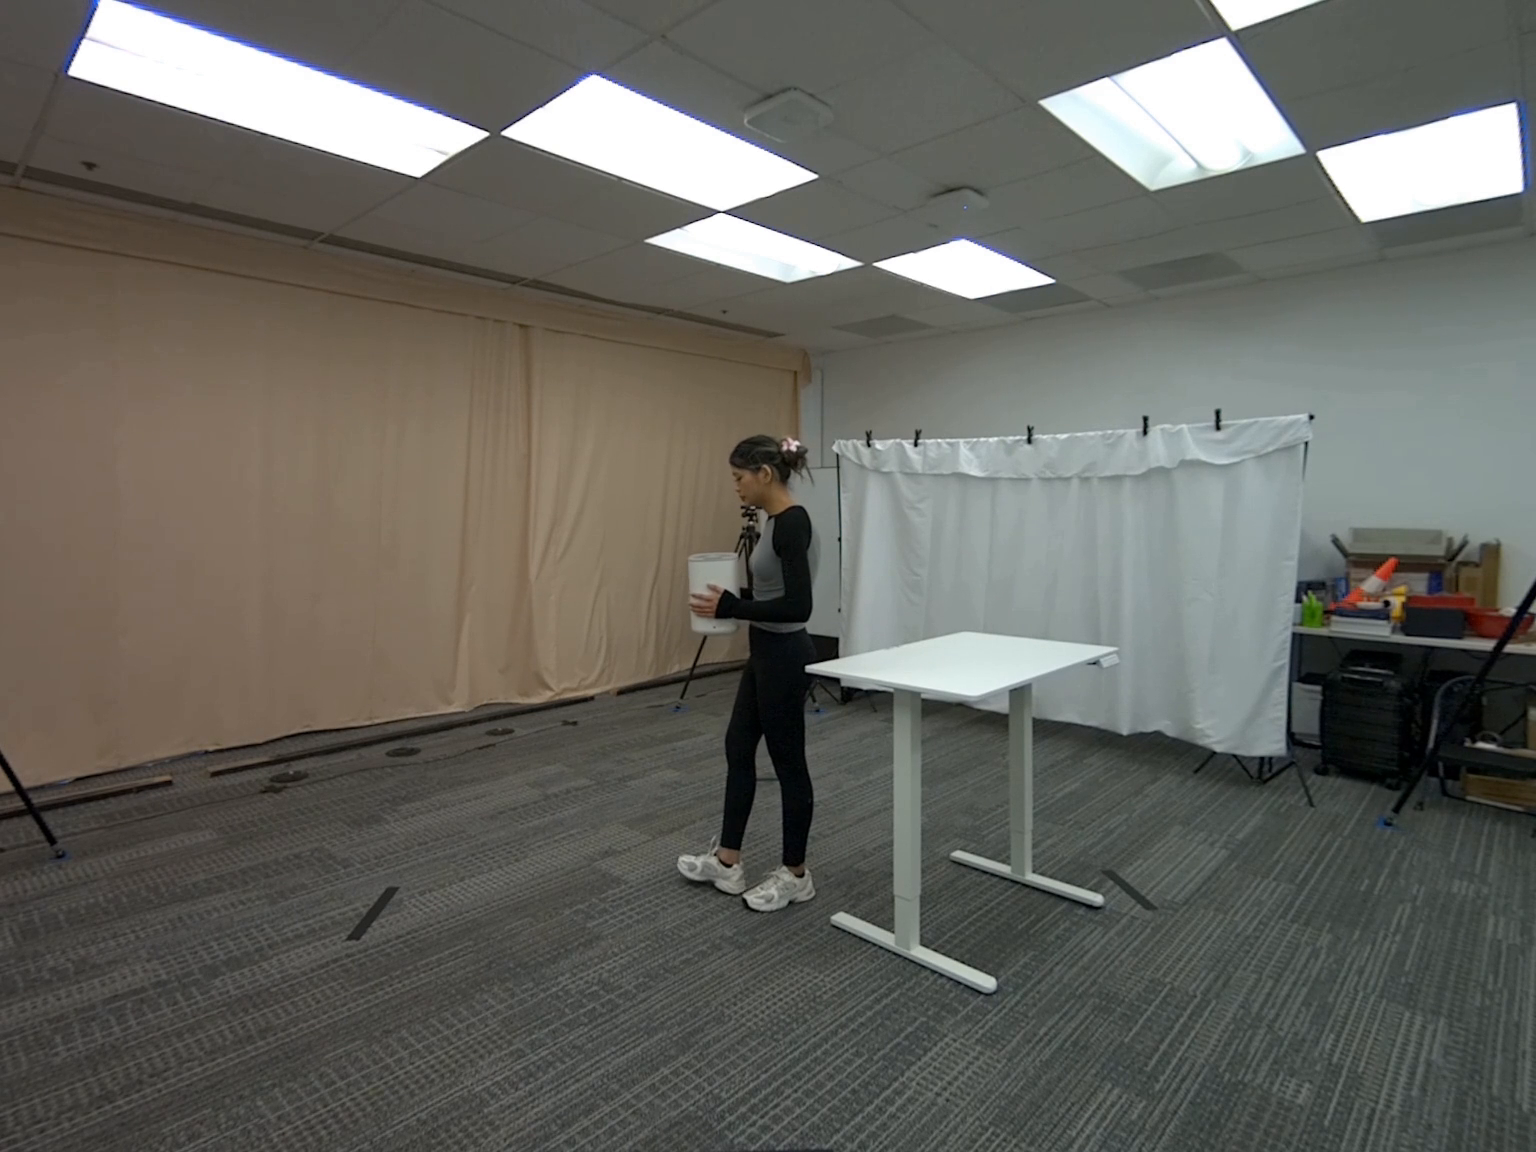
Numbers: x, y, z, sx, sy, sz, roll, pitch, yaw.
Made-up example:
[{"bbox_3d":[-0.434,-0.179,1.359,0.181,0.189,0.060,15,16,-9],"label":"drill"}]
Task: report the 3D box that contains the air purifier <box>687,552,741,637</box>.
[{"bbox_3d":[-0.177,0.063,2.925,0.171,0.264,0.172,-1,7,1],"label":"air purifier"}]
